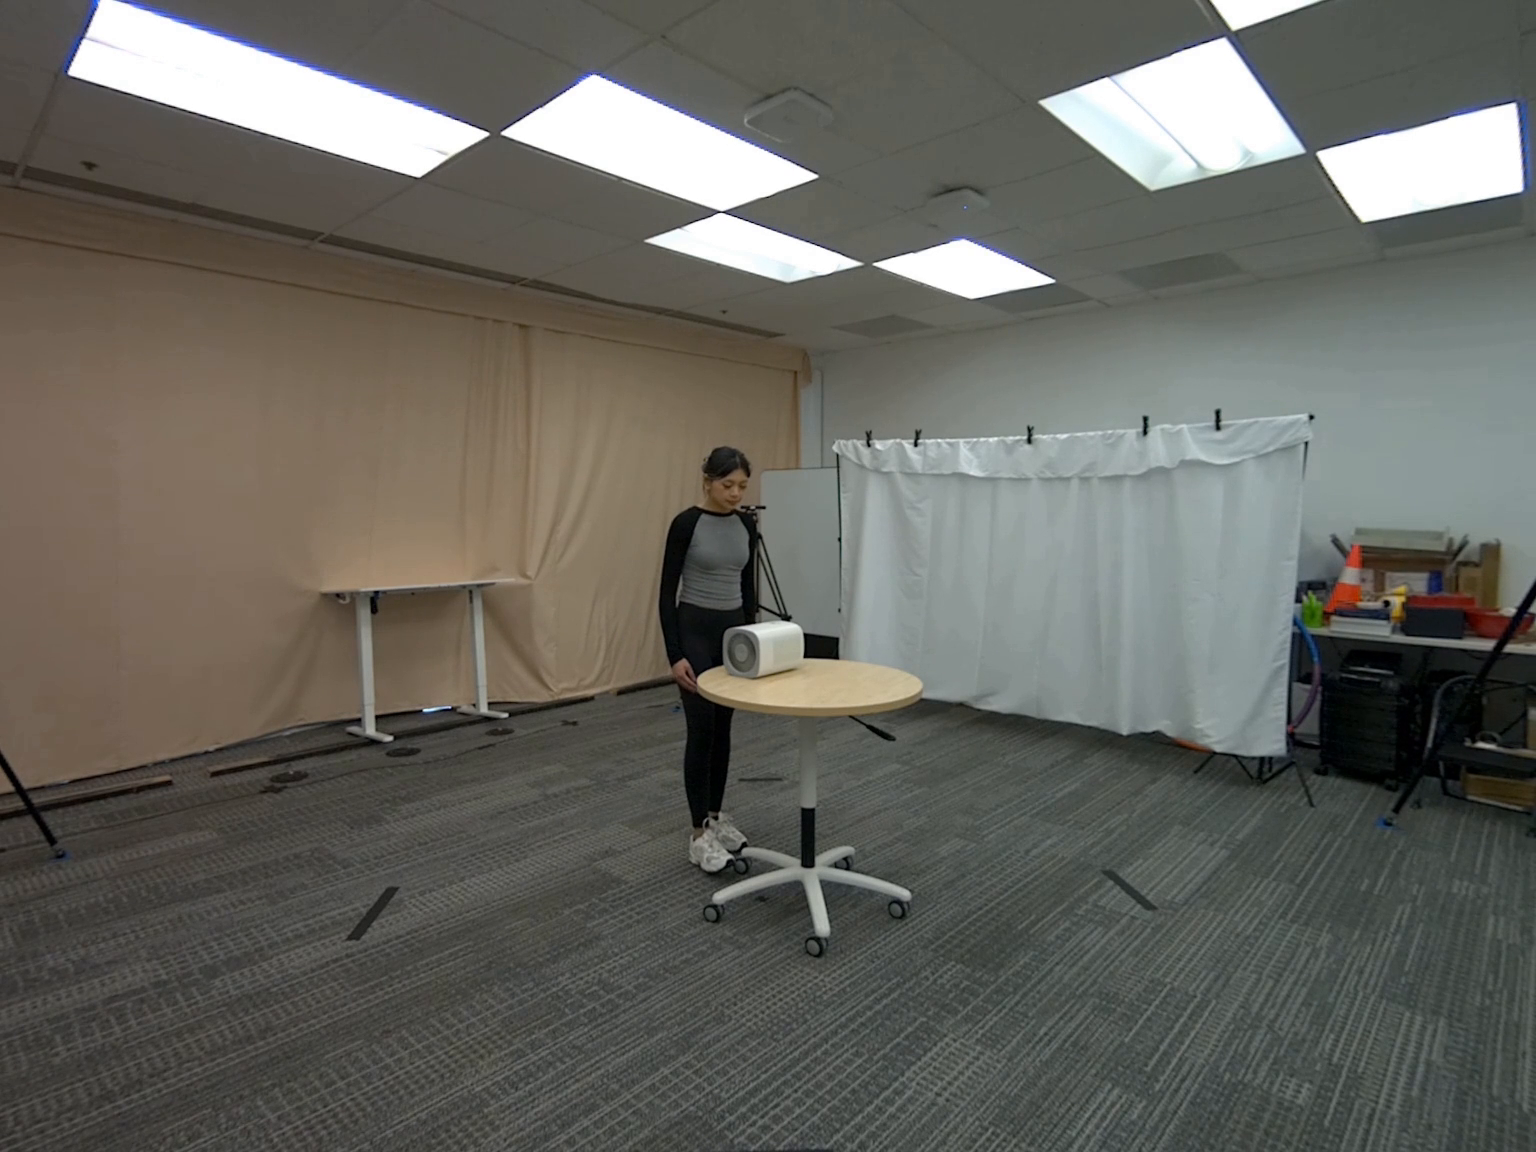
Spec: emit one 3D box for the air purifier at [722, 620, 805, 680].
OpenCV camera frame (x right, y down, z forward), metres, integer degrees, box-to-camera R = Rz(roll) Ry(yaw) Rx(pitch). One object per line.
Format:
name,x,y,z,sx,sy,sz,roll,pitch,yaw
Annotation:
air purifier,-0.004,0.257,3.020,0.177,0.171,0.257,4,6,41
